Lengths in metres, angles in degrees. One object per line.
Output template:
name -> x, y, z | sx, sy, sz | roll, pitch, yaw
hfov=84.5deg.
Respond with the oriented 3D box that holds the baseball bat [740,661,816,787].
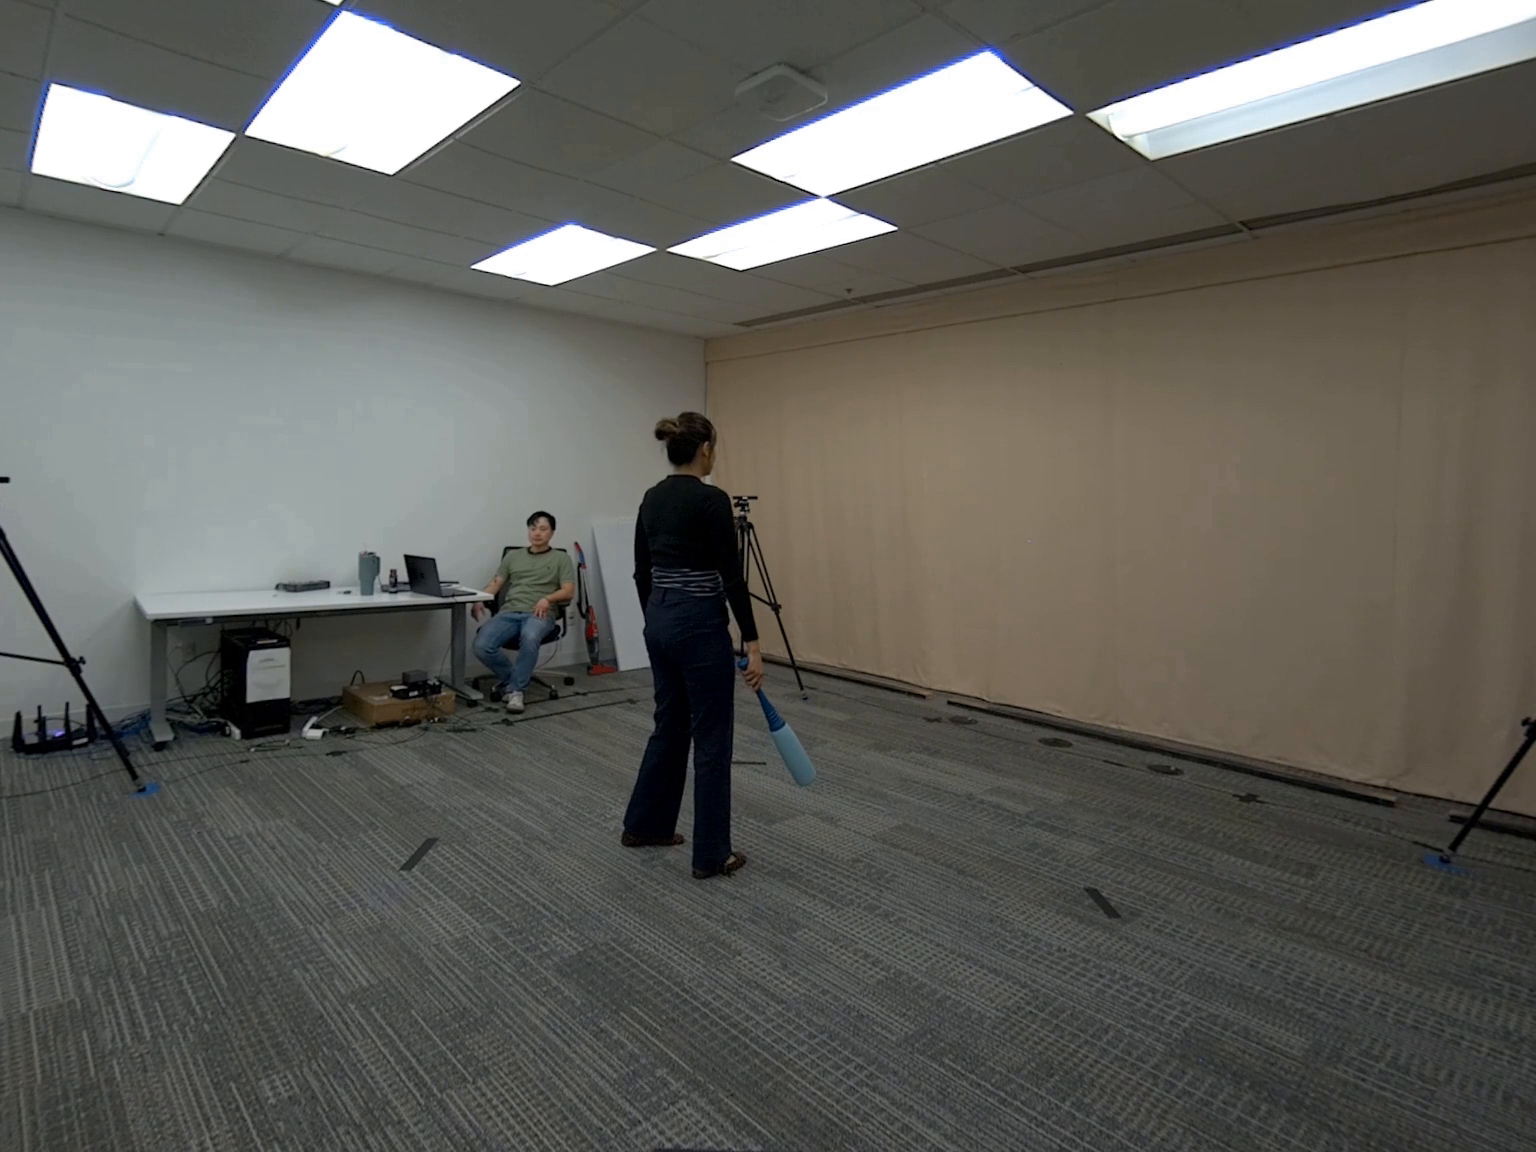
baseball bat -> 0.012, 0.543, 3.111 | 0.089, 0.536, 0.090 | -26, 13, 6
